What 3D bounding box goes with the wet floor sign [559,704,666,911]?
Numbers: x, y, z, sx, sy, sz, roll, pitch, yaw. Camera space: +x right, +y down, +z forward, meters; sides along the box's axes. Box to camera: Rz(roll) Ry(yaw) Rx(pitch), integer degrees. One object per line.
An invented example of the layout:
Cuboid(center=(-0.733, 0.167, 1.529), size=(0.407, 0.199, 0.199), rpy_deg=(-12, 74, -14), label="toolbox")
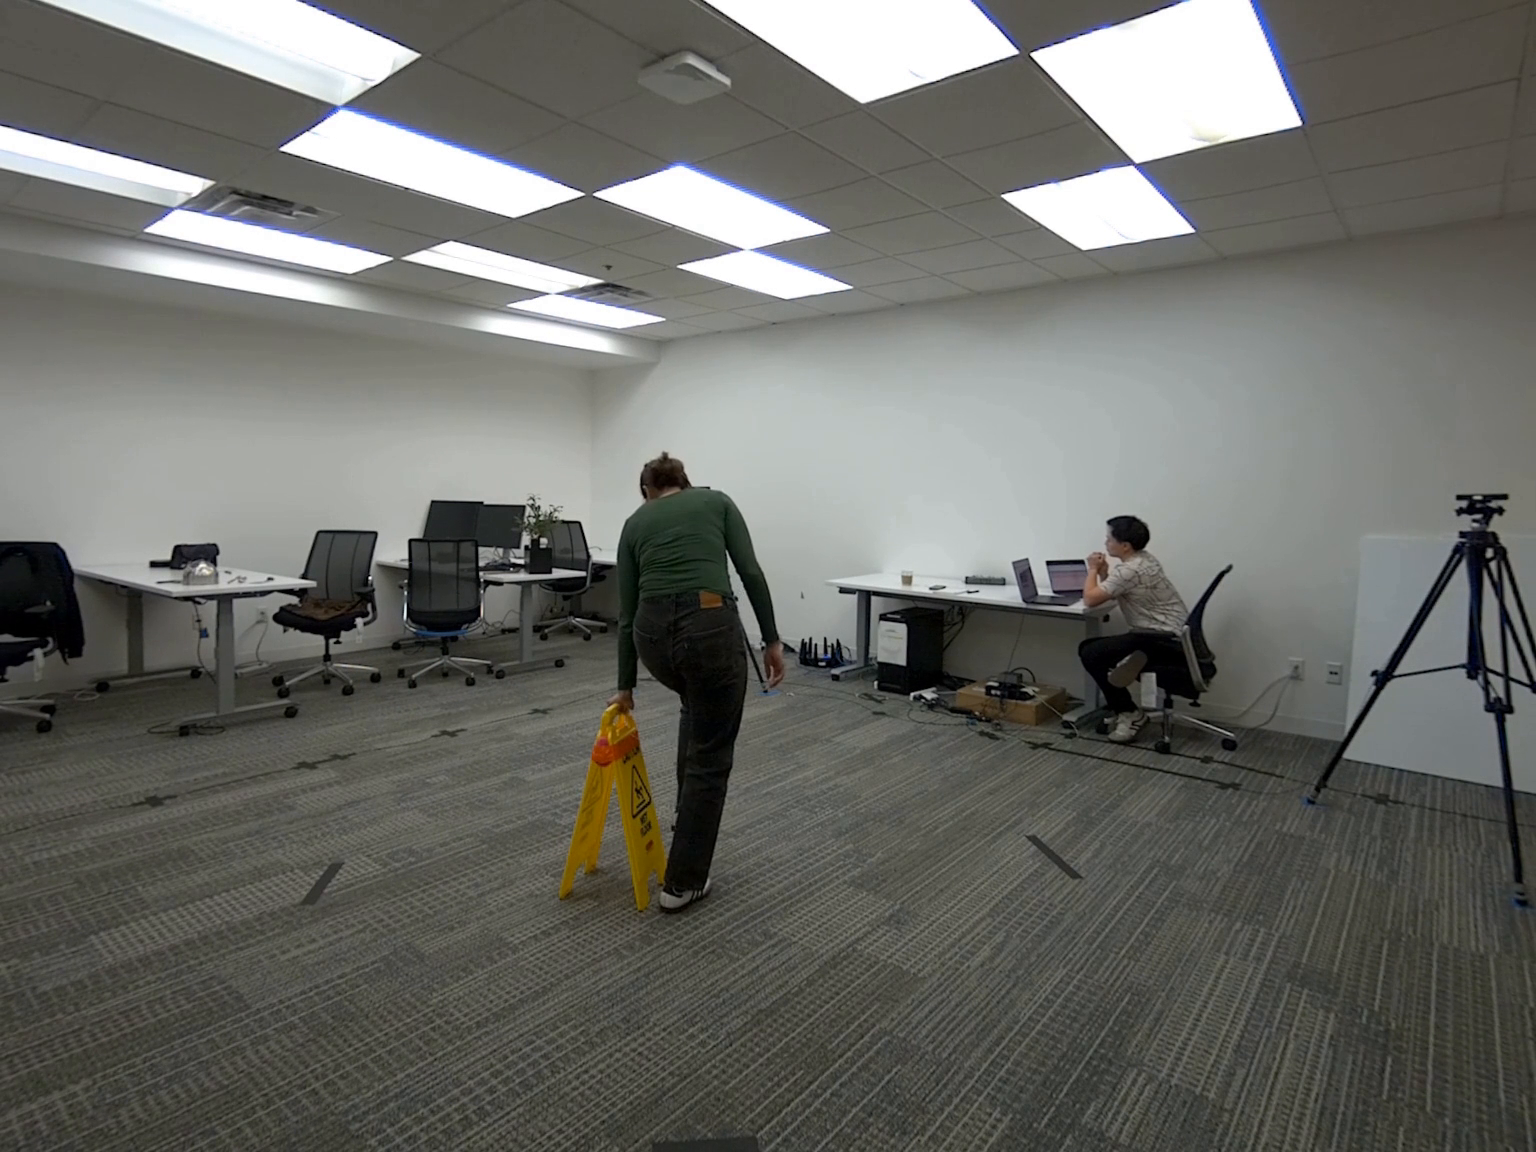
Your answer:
Cuboid(center=(-0.530, 0.754, 2.932), size=(0.294, 0.644, 0.278), rpy_deg=(3, 3, 14), label="wet floor sign")
